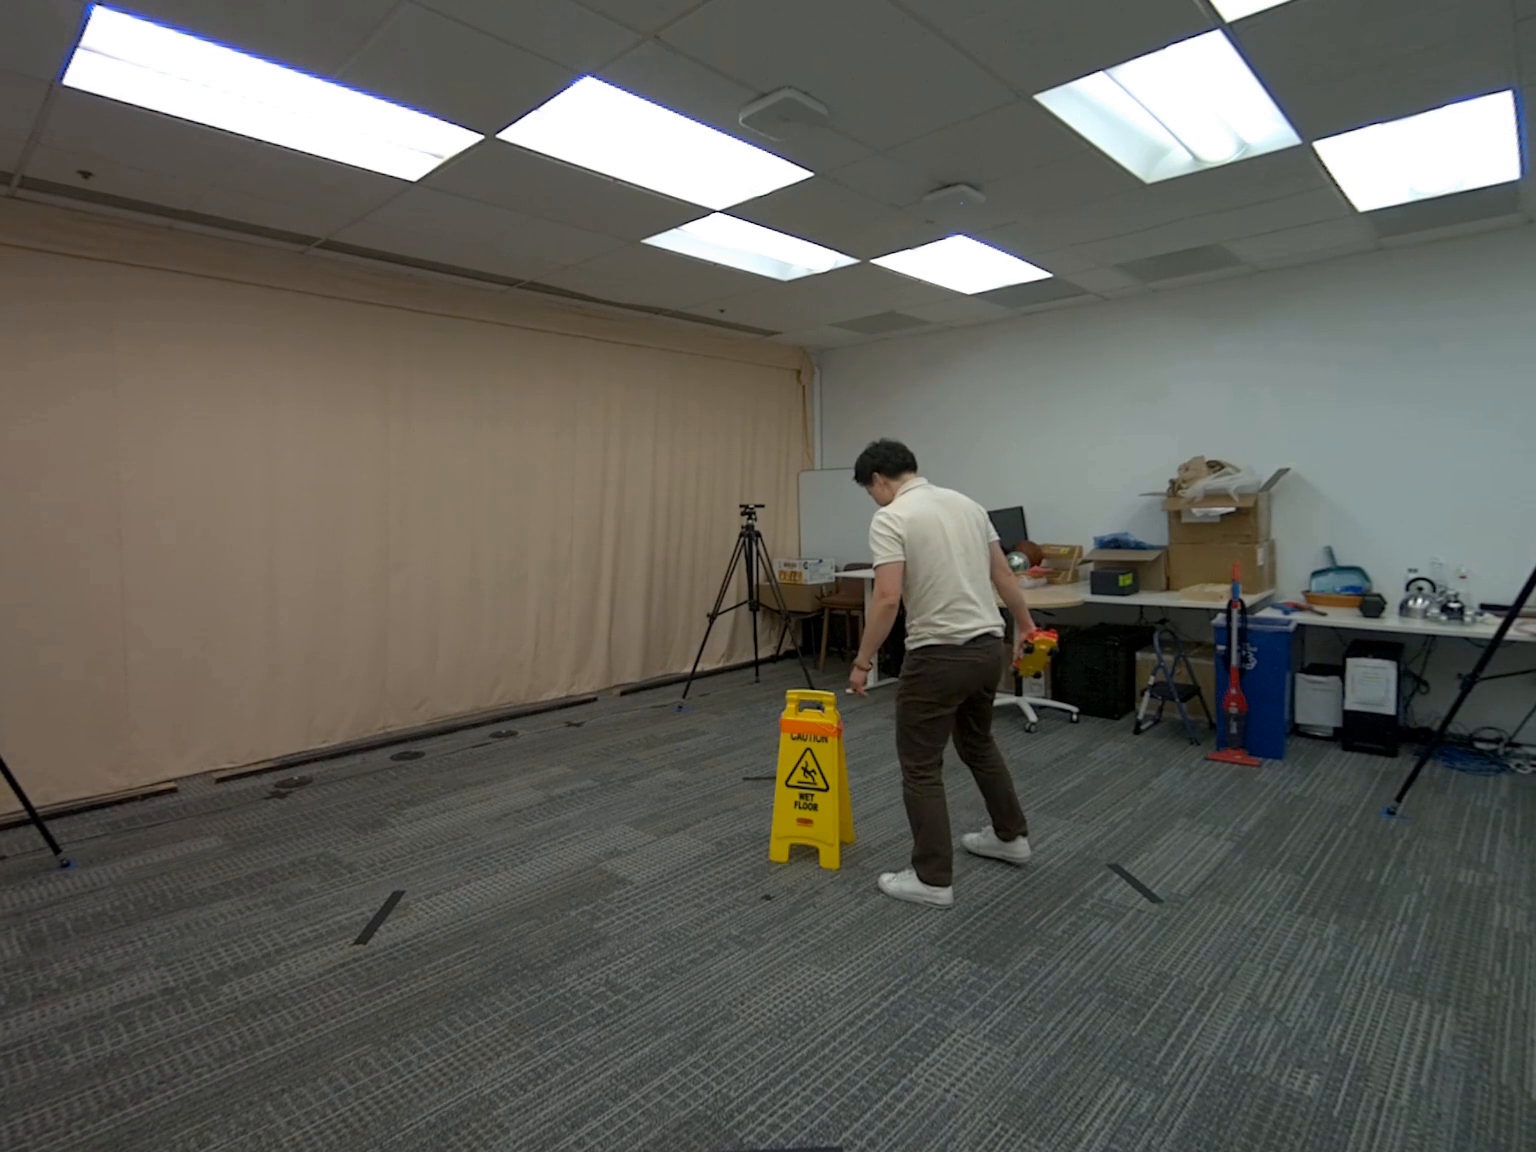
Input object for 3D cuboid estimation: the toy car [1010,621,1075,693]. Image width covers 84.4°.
[{"bbox_3d":[0.999,0.296,3.100,0.130,0.251,0.084,7,35,-3],"label":"toy car"}]
